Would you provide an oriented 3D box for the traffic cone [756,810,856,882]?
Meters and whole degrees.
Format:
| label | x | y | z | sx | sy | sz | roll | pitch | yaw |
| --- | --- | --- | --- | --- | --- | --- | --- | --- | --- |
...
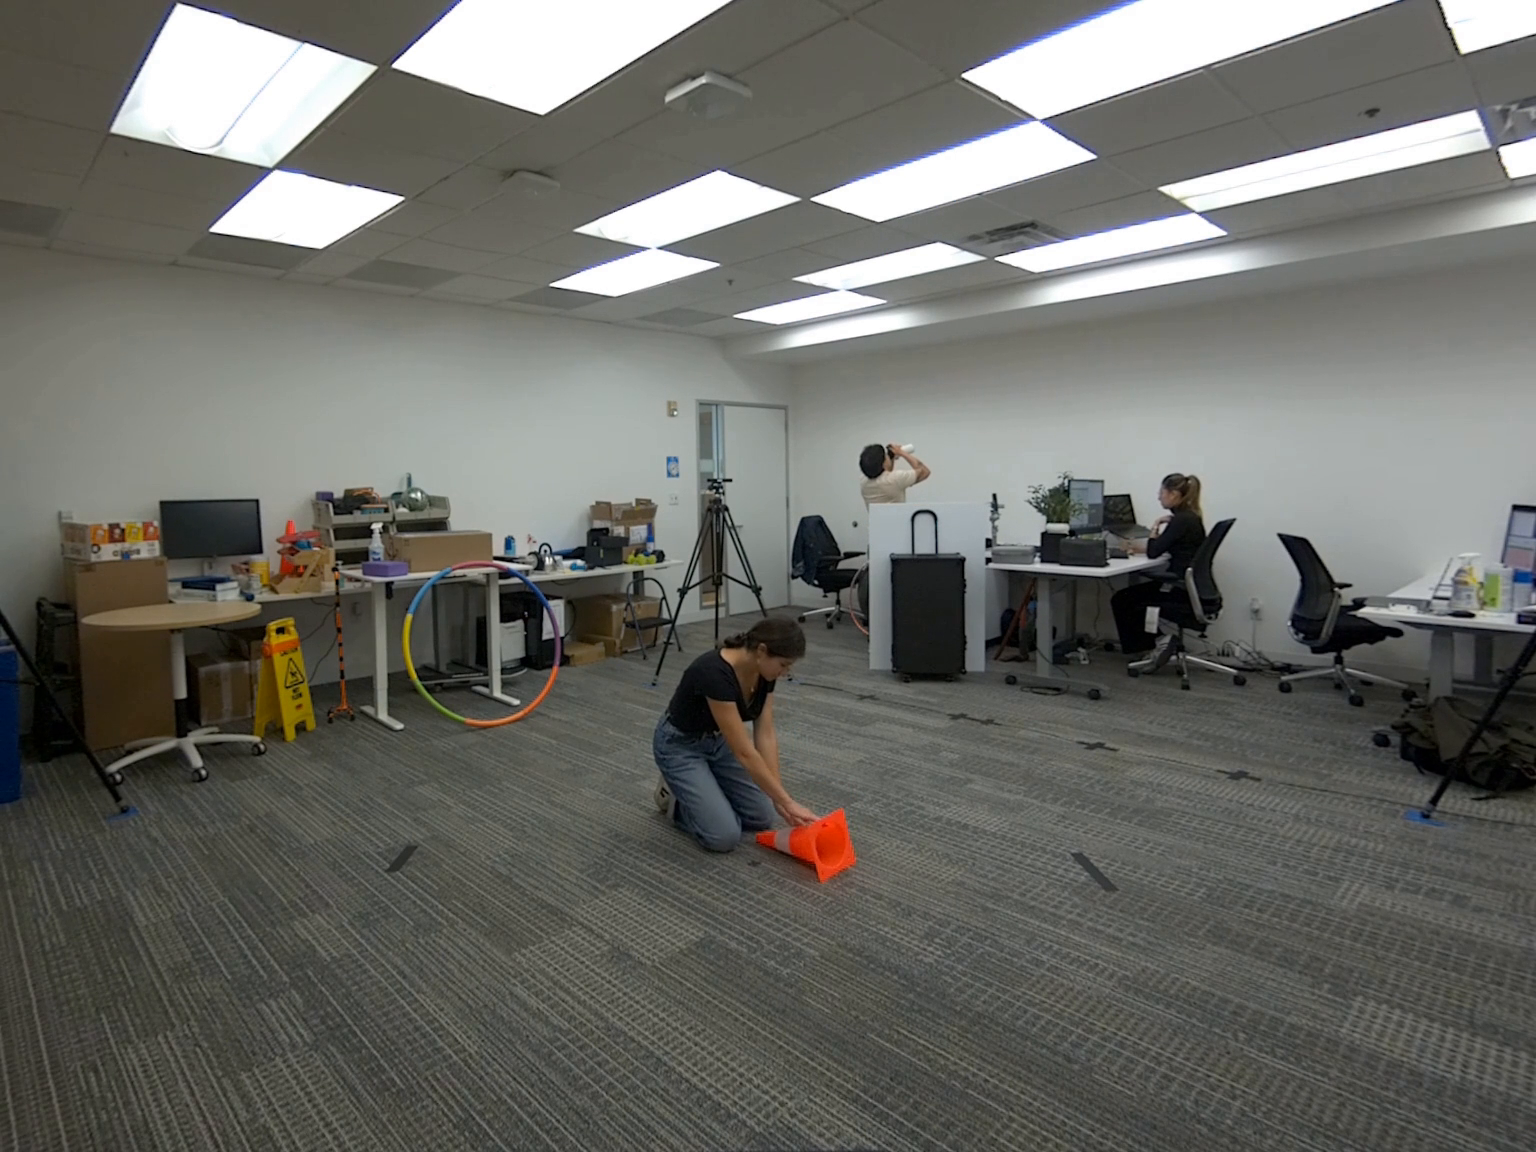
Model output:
| label | x | y | z | sx | sy | sz | roll | pitch | yaw |
| --- | --- | --- | --- | --- | --- | --- | --- | --- | --- |
| traffic cone | 0.096 | 0.985 | 3.162 | 0.200 | 0.204 | 0.391 | -10 | -3 | -42 |
